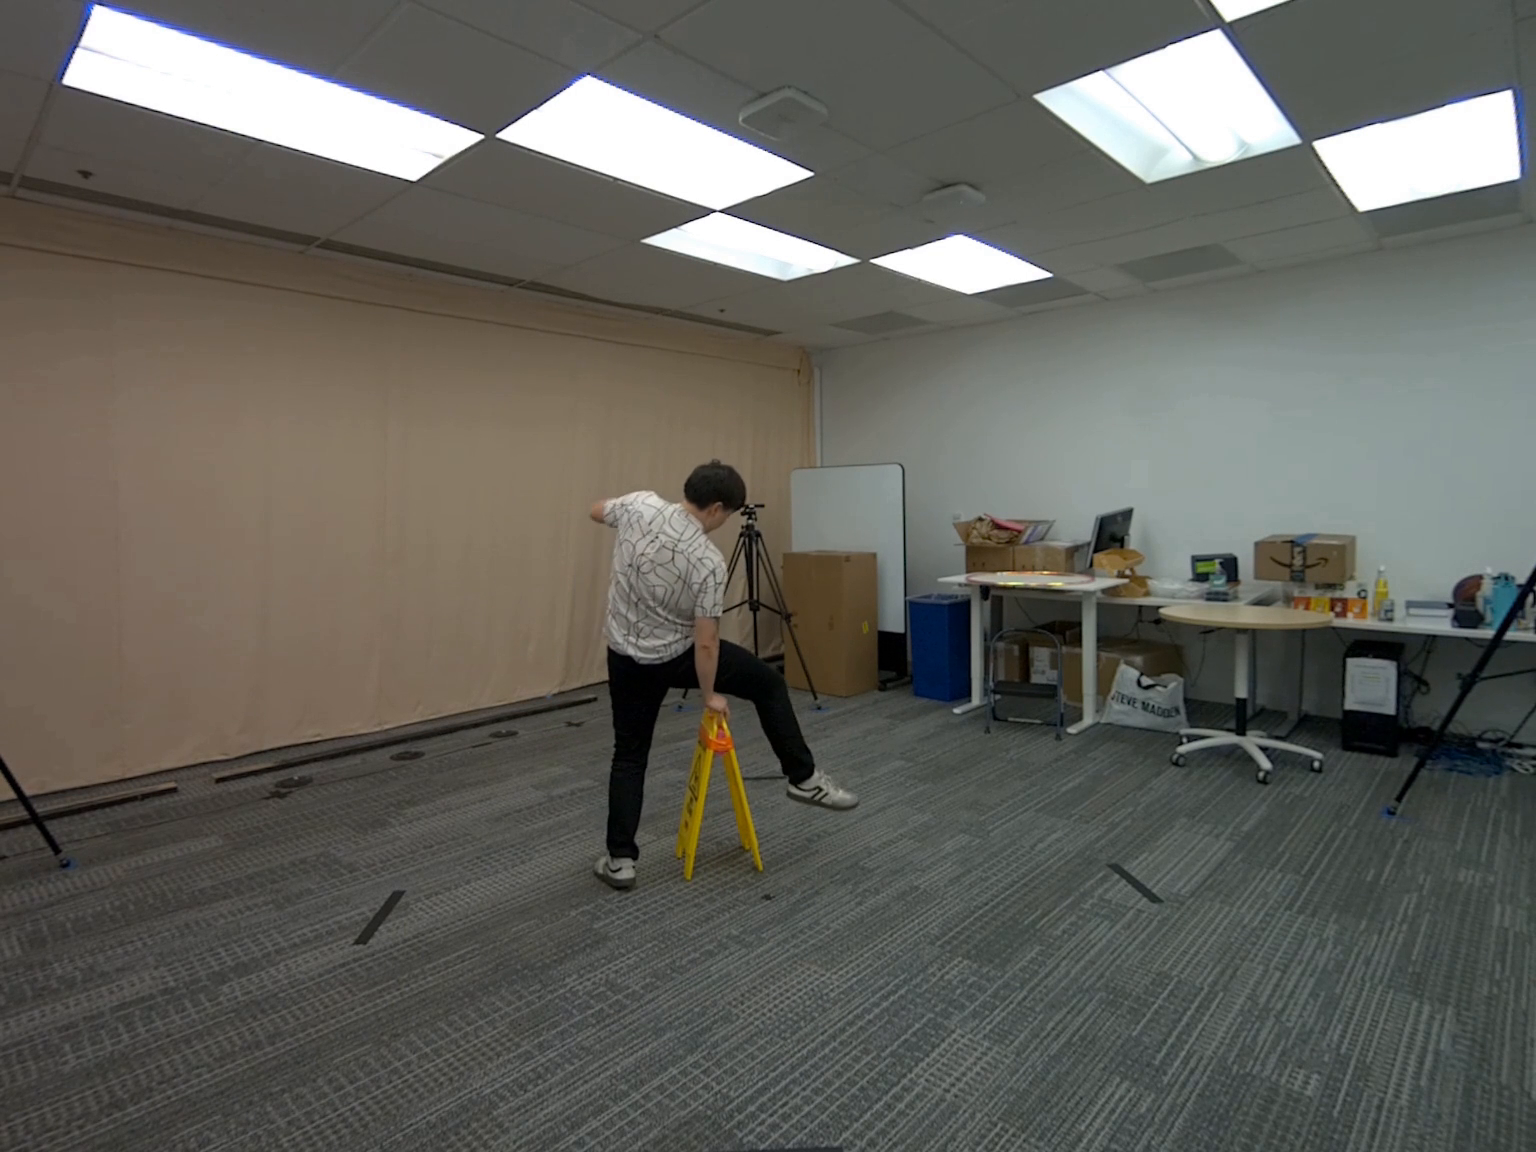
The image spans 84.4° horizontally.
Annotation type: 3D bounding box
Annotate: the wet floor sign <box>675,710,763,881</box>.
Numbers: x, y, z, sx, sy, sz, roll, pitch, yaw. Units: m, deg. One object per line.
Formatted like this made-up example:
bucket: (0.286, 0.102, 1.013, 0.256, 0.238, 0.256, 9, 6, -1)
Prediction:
wet floor sign: (-0.203, 0.790, 3.268, 0.286, 0.645, 0.287, -2, 2, -14)
